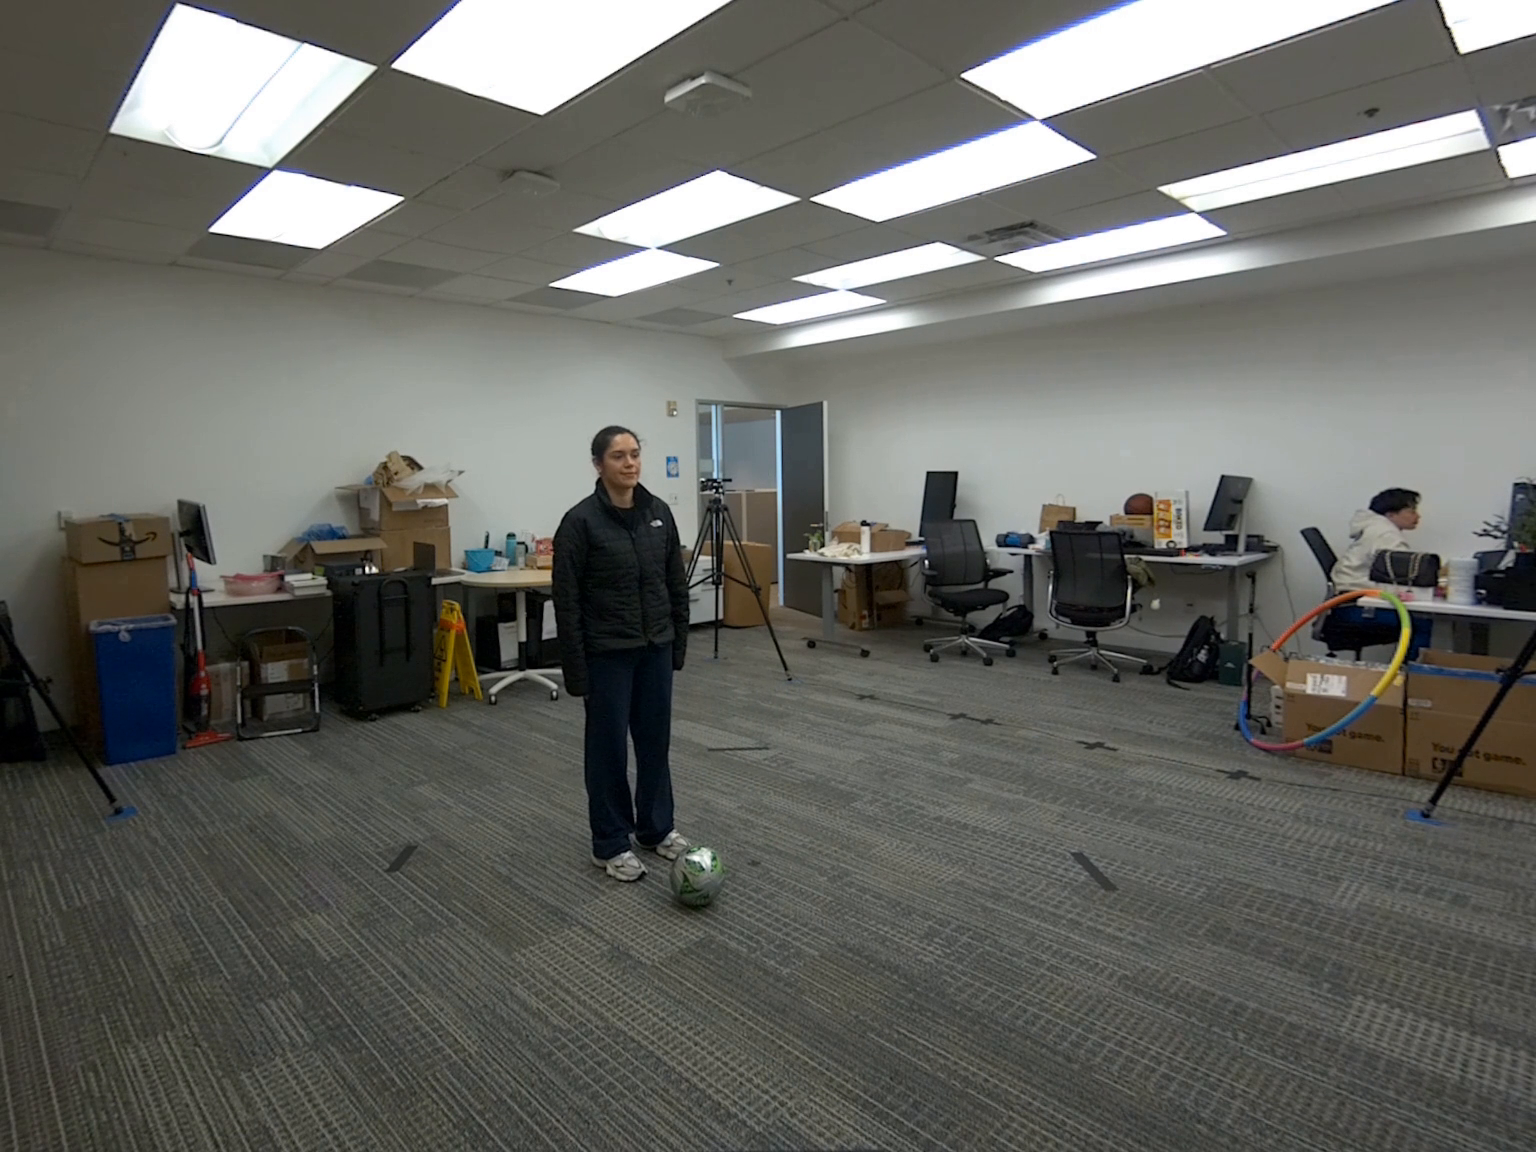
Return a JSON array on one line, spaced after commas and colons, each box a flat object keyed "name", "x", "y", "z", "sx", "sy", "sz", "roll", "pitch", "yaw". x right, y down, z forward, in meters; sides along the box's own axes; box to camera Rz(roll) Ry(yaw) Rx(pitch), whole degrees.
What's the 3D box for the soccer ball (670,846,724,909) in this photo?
[{"name": "soccer ball", "x": -0.227, "y": 0.983, "z": 2.822, "sx": 0.187, "sy": 0.187, "sz": 0.188, "roll": -1, "pitch": 5, "yaw": -2}]
